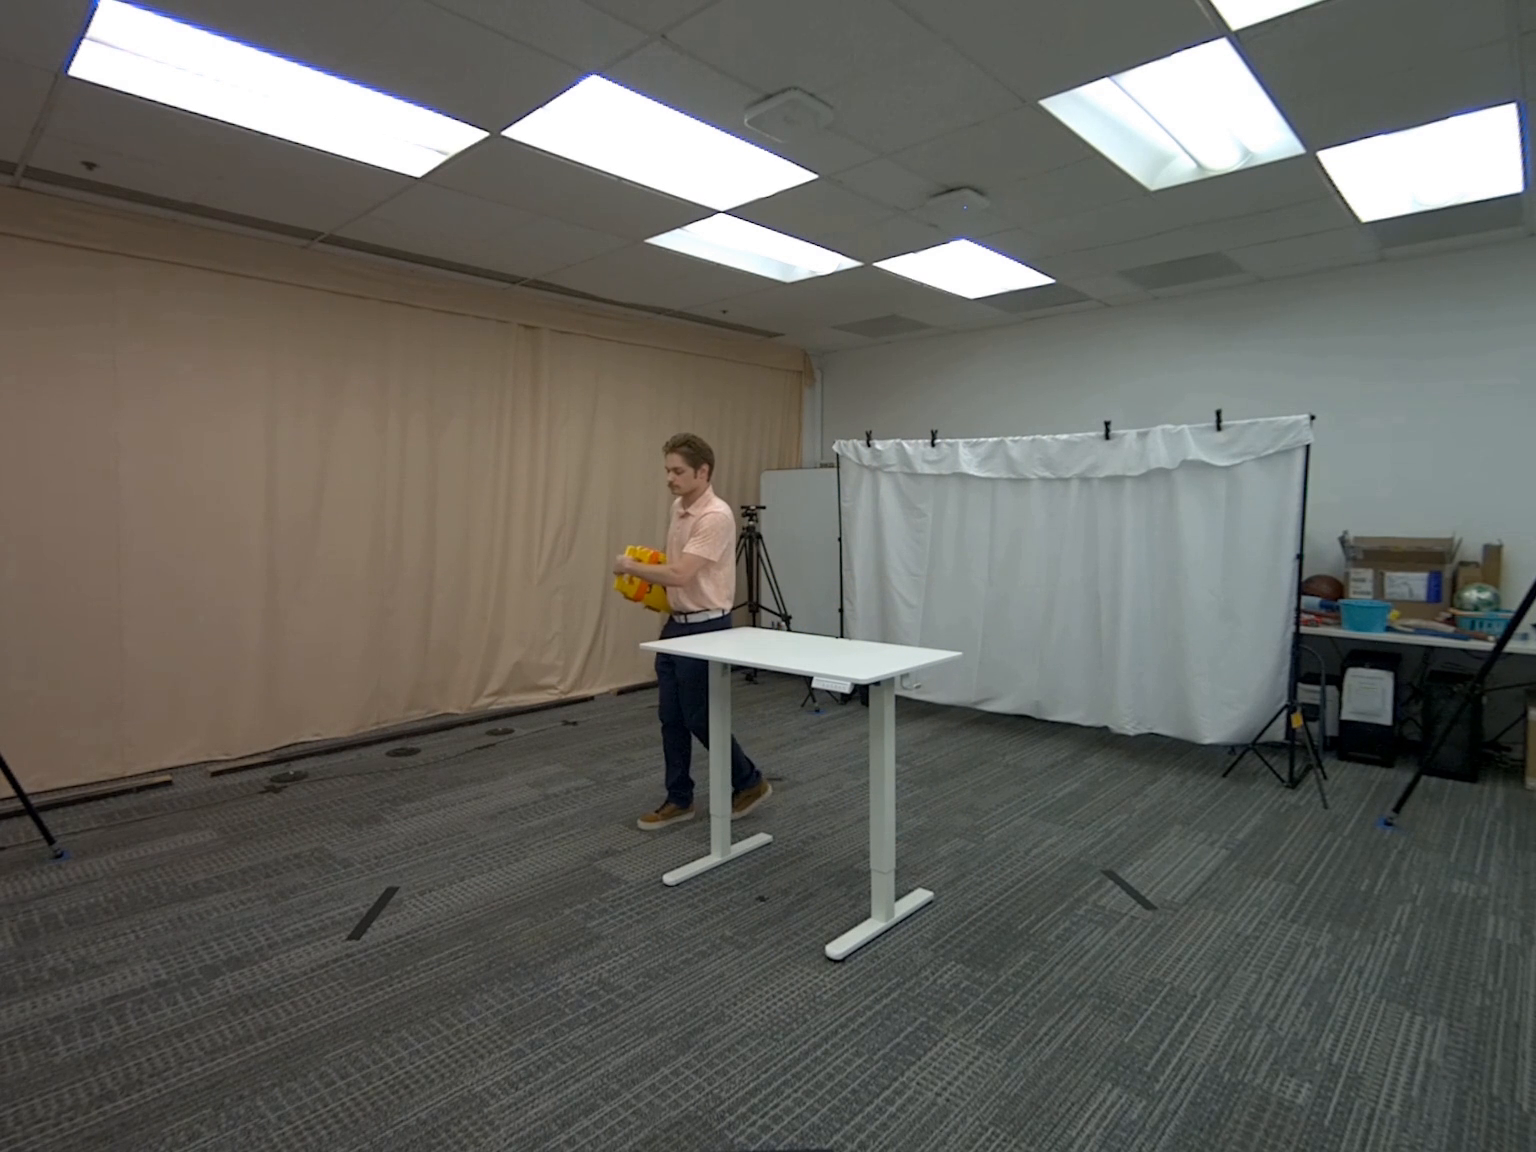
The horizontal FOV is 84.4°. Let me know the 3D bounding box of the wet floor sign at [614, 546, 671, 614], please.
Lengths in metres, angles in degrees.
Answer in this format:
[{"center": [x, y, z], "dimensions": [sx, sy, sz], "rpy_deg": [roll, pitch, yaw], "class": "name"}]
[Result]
[{"center": [-0.461, 0.034, 3.840], "dimensions": [0.300, 0.282, 0.623], "rpy_deg": [20, -2, 37], "class": "wet floor sign"}]
